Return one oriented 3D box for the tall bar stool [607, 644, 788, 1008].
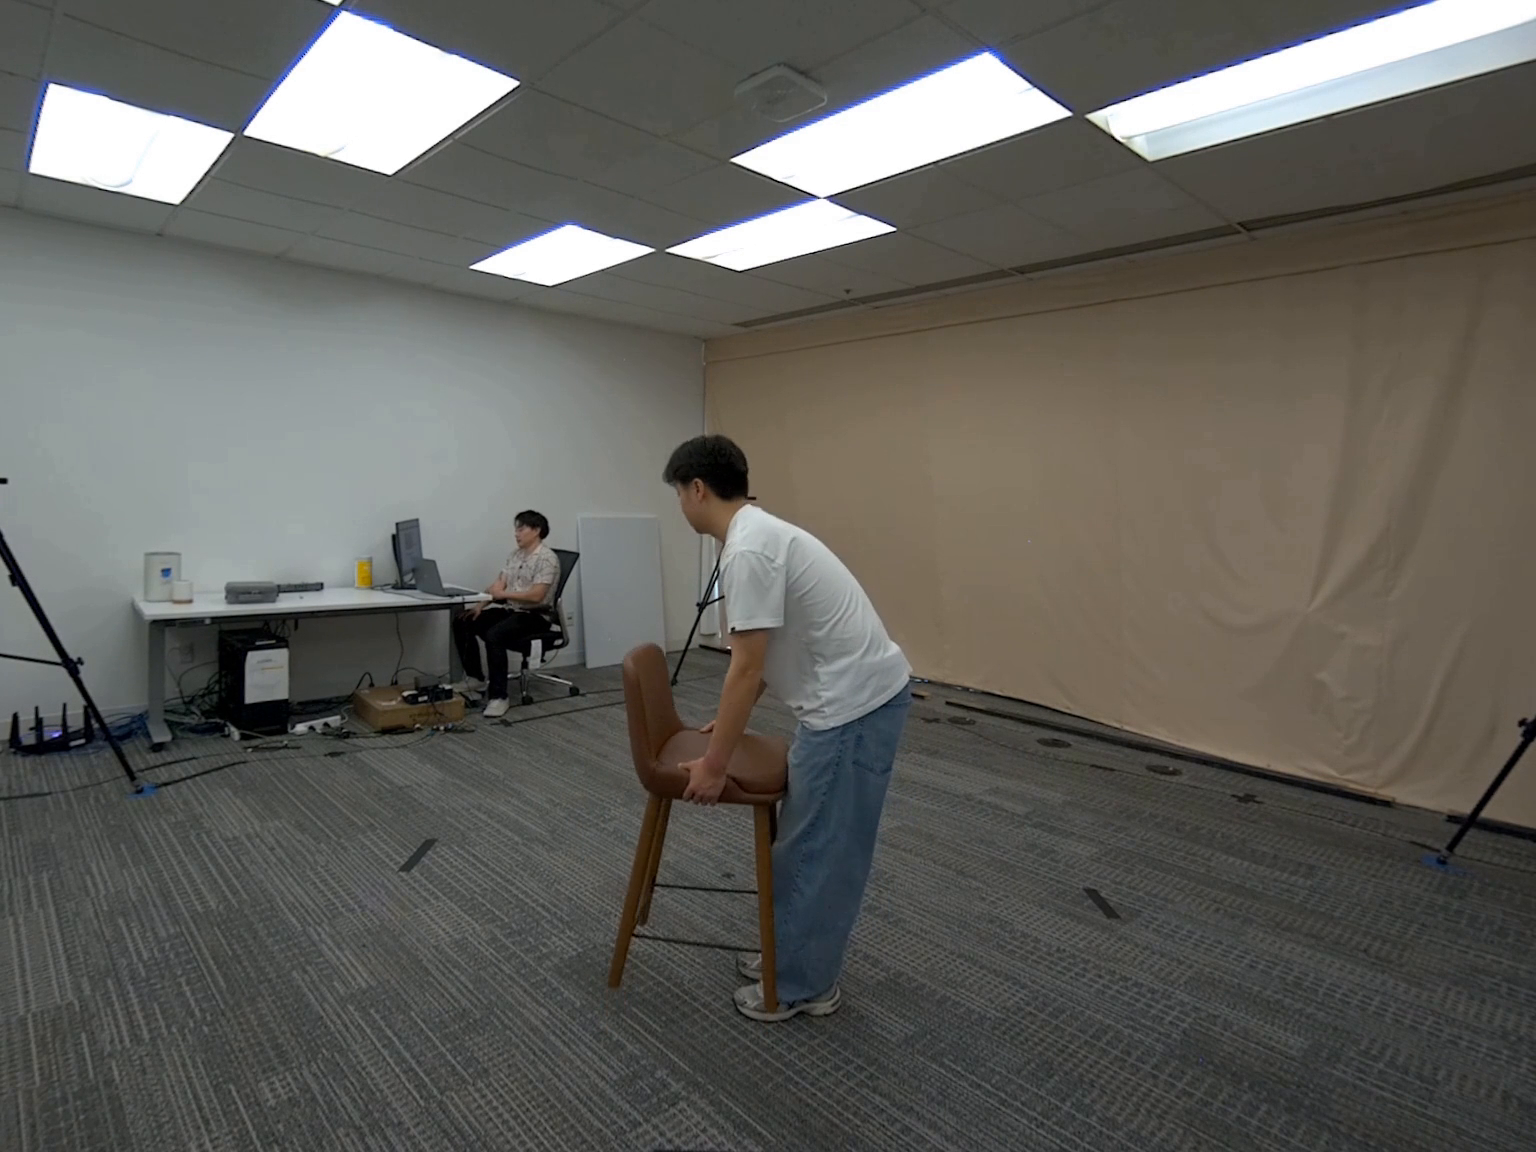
[{"bbox_3d":[-0.180,0.669,2.363,0.470,0.887,0.455,2,4,5],"label":"tall bar stool"}]
